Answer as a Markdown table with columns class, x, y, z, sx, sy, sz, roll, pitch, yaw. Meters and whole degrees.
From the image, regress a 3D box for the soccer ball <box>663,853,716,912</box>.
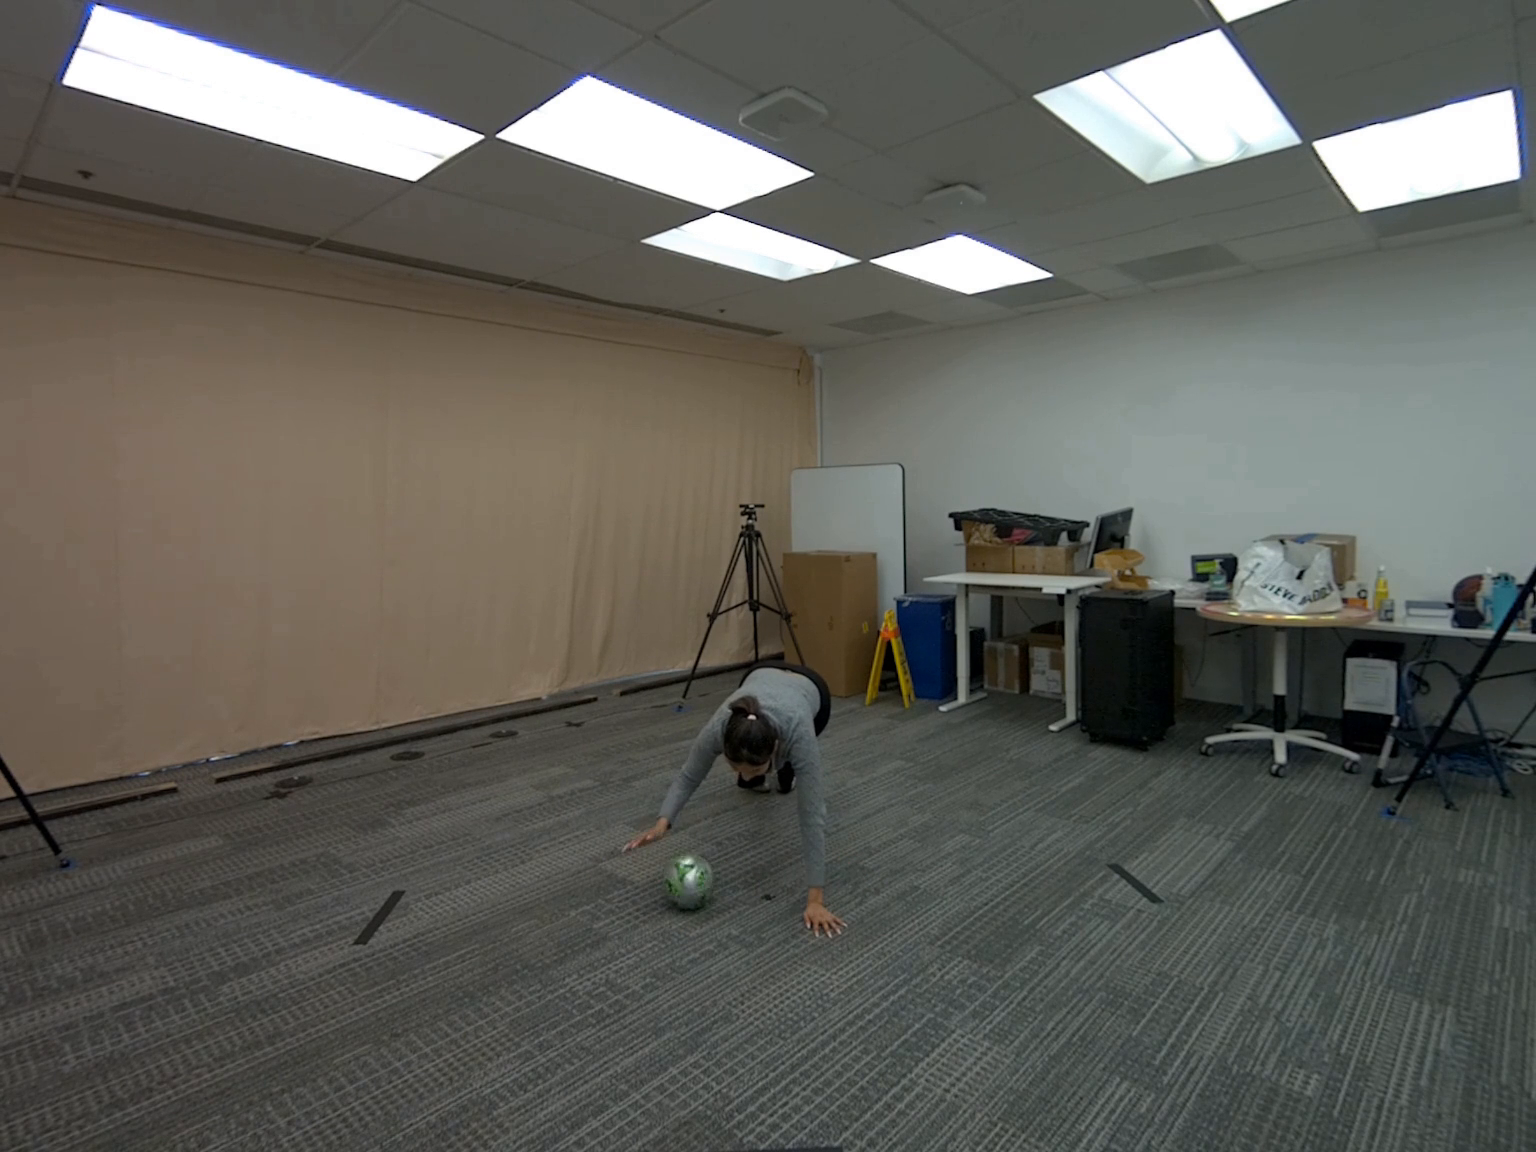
| class | x | y | z | sx | sy | sz | roll | pitch | yaw |
| --- | --- | --- | --- | --- | --- | --- | --- | --- | --- |
| soccer ball | -0.267 | 1.057 | 2.919 | 0.187 | 0.187 | 0.188 | -1 | 4 | -2 |
